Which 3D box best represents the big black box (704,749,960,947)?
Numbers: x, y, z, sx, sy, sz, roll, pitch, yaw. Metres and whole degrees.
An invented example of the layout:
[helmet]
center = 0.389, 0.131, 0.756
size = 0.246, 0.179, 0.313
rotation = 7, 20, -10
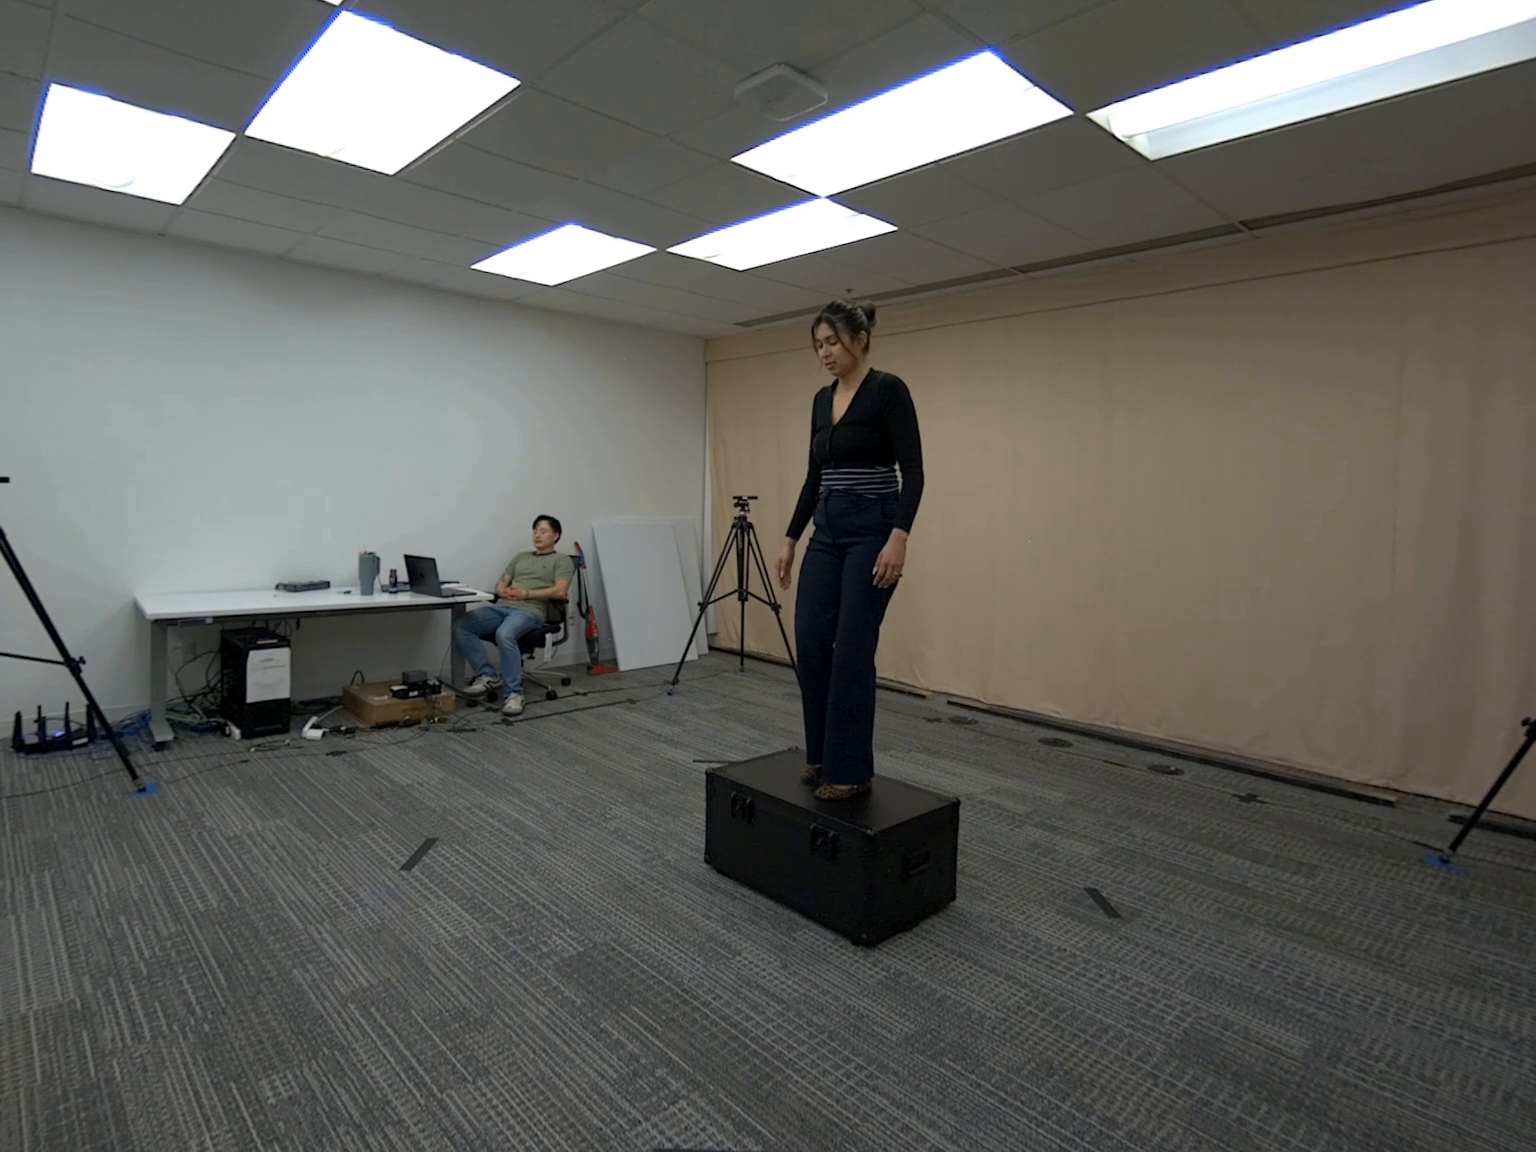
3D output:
[big black box]
center = 0.219, 0.932, 2.991
size = 0.509, 0.395, 0.883
rotation = -3, 6, -43
